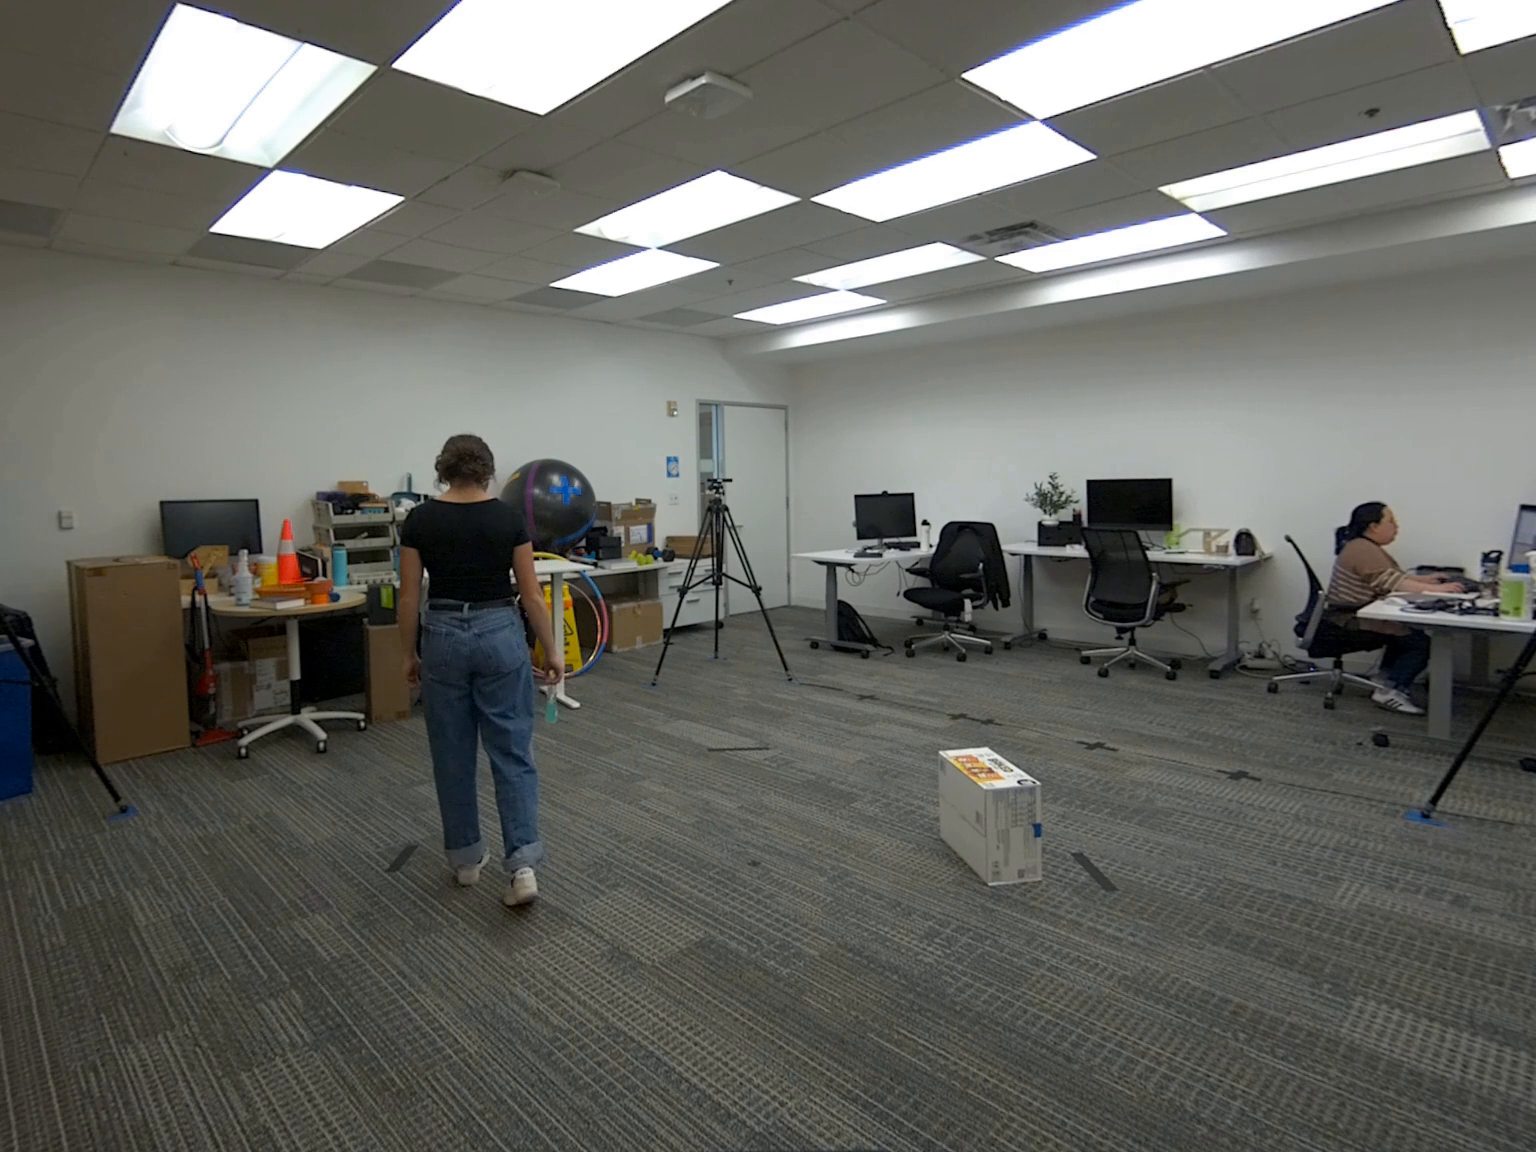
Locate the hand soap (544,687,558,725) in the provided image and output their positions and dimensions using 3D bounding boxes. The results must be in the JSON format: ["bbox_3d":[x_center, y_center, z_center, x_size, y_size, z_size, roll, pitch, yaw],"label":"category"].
[{"bbox_3d":[-0.788,0.453,3.105,0.043,0.168,0.085,-2,3,-3],"label":"hand soap"}]
